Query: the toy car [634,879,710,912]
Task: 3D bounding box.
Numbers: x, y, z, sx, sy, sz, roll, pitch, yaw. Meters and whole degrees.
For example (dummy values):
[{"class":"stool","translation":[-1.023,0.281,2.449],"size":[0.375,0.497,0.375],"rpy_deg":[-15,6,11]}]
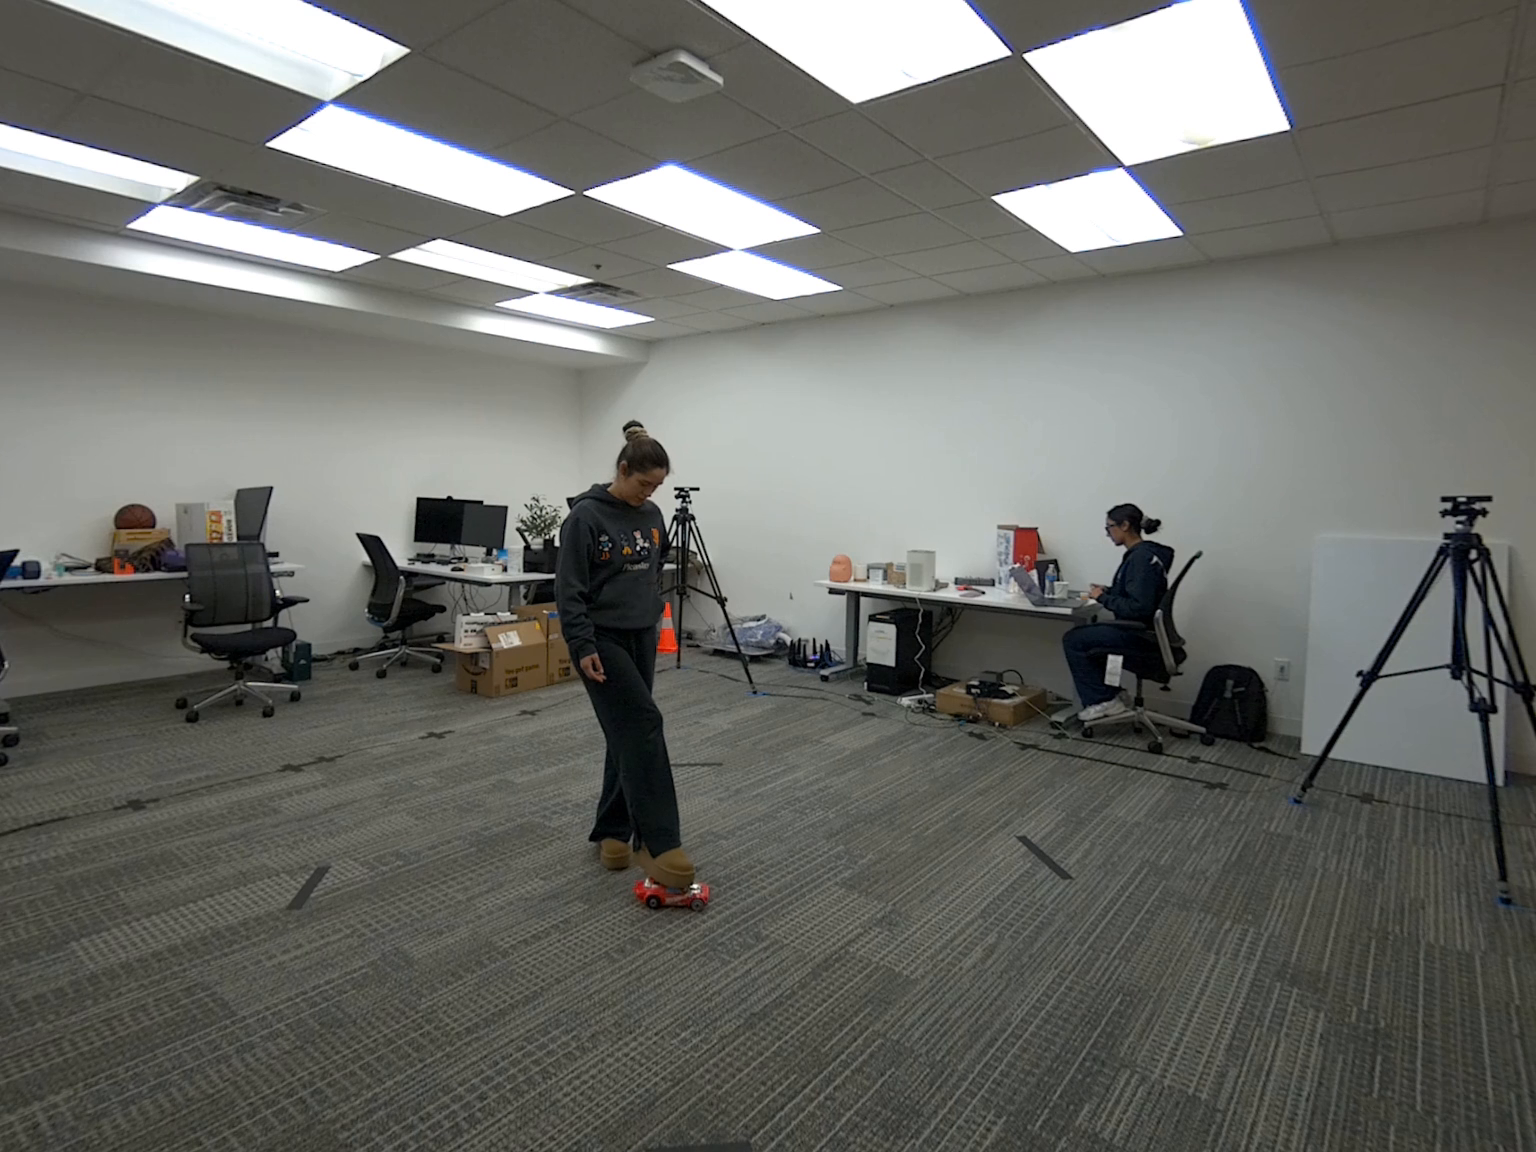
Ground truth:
[{"class":"toy car","translation":[-0.329,1.061,2.845],"size":[0.255,0.083,0.130],"rpy_deg":[12,2,1]}]
